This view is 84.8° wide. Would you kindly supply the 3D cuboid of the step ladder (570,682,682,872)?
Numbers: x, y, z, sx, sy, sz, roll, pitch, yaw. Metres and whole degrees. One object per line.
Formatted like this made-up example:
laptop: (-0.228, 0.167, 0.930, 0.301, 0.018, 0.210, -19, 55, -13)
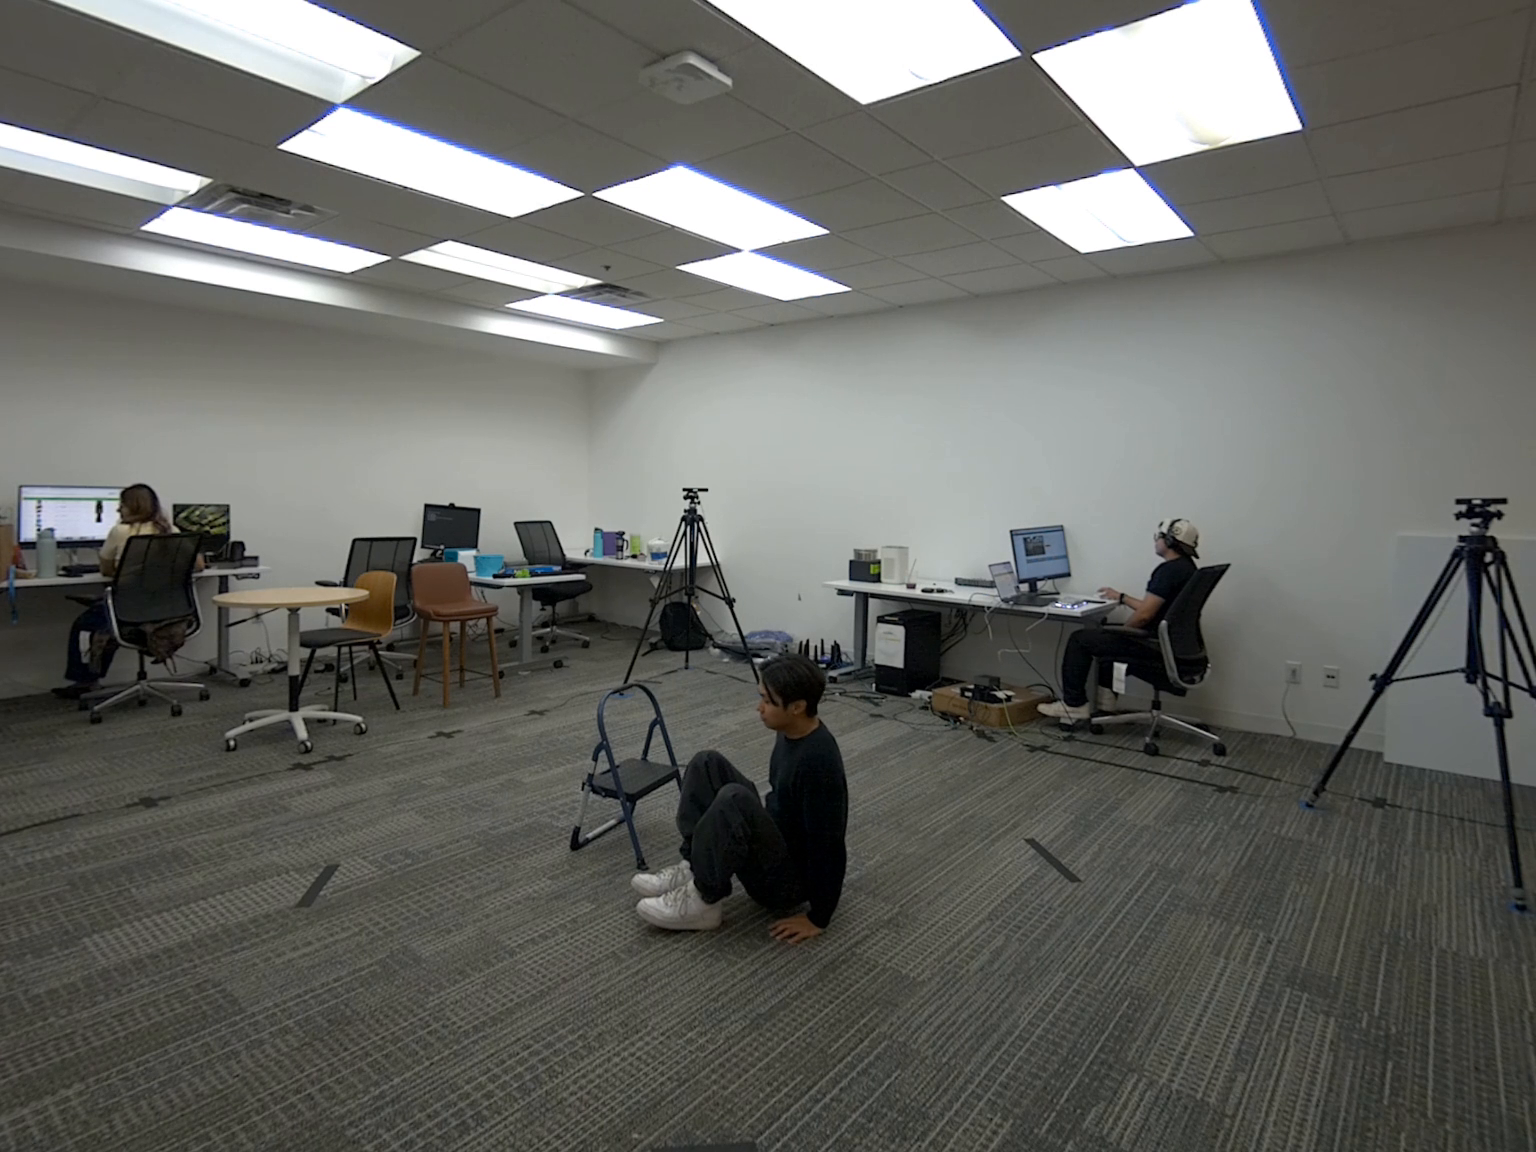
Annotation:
step ladder: (-0.525, 0.738, 3.342, 0.358, 0.604, 0.421, 3, 4, 25)
